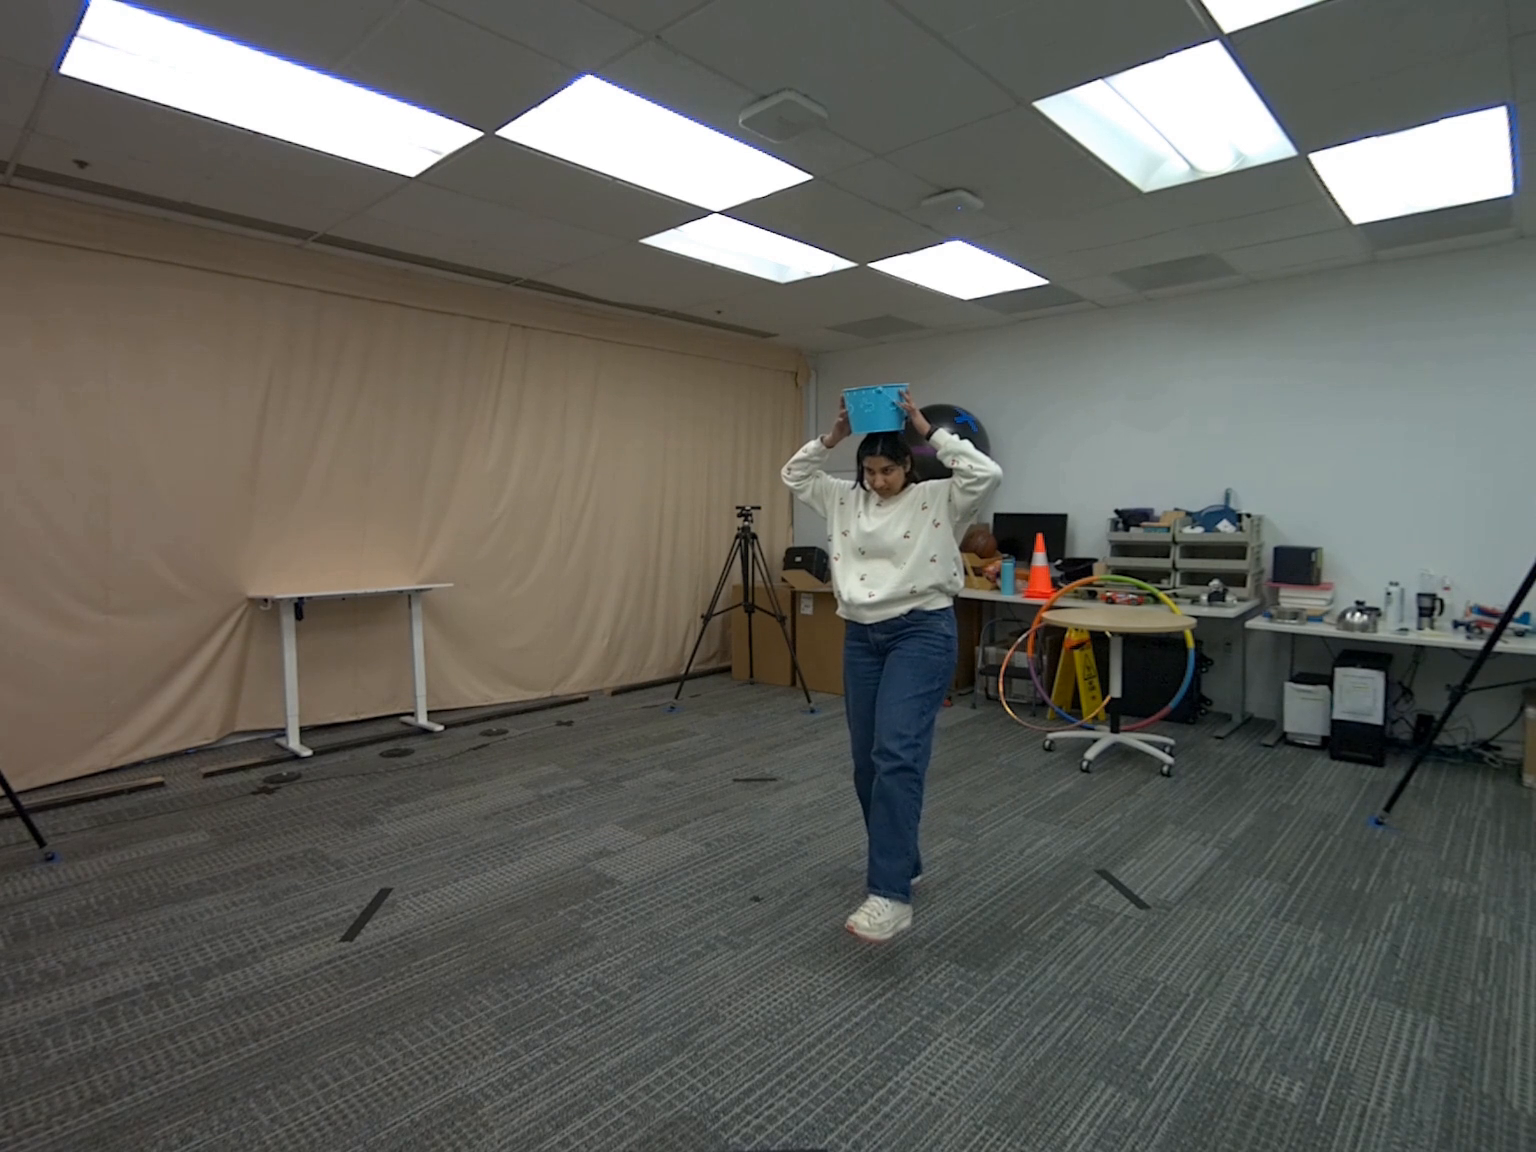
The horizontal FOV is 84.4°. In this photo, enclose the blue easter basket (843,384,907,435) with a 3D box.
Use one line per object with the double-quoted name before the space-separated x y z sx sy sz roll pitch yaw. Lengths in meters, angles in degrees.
"blue easter basket" 0.394 -0.579 2.919 0.243 0.155 0.245 -4 9 -1
